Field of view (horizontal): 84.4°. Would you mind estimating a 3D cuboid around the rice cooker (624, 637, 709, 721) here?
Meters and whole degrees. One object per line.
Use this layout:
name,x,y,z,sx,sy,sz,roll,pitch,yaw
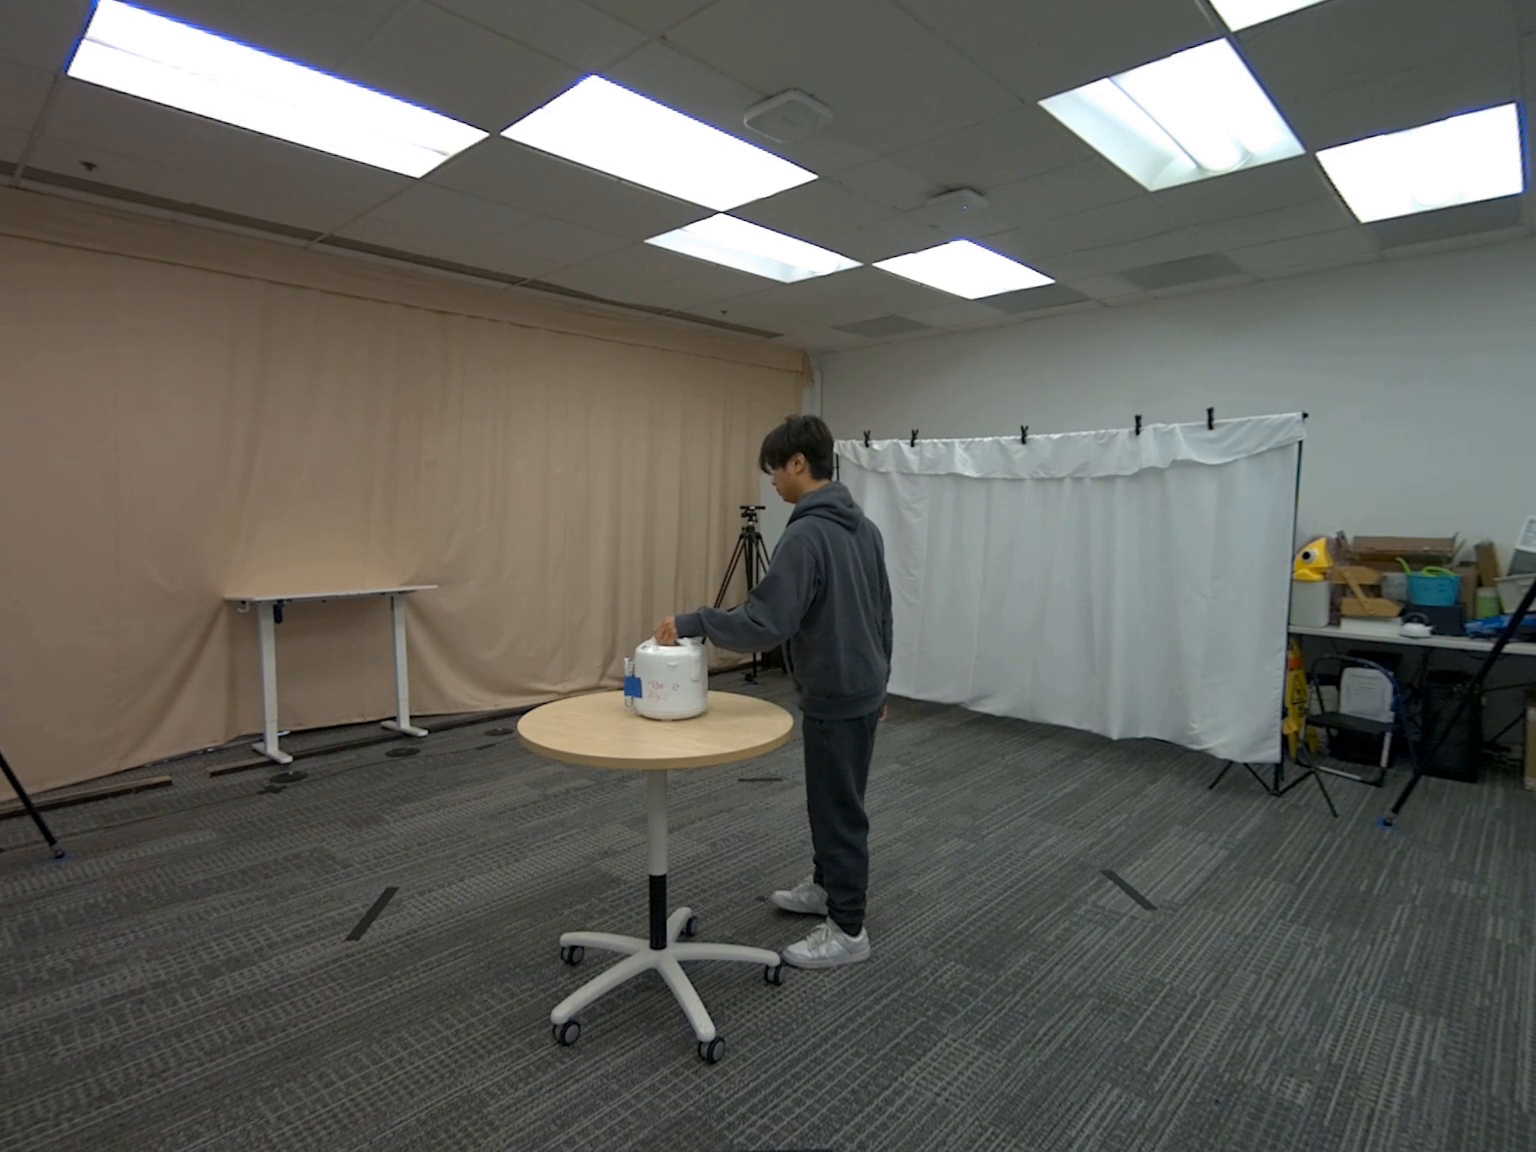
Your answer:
rice cooker,-0.279,0.280,2.425,0.228,0.232,0.211,3,5,43
